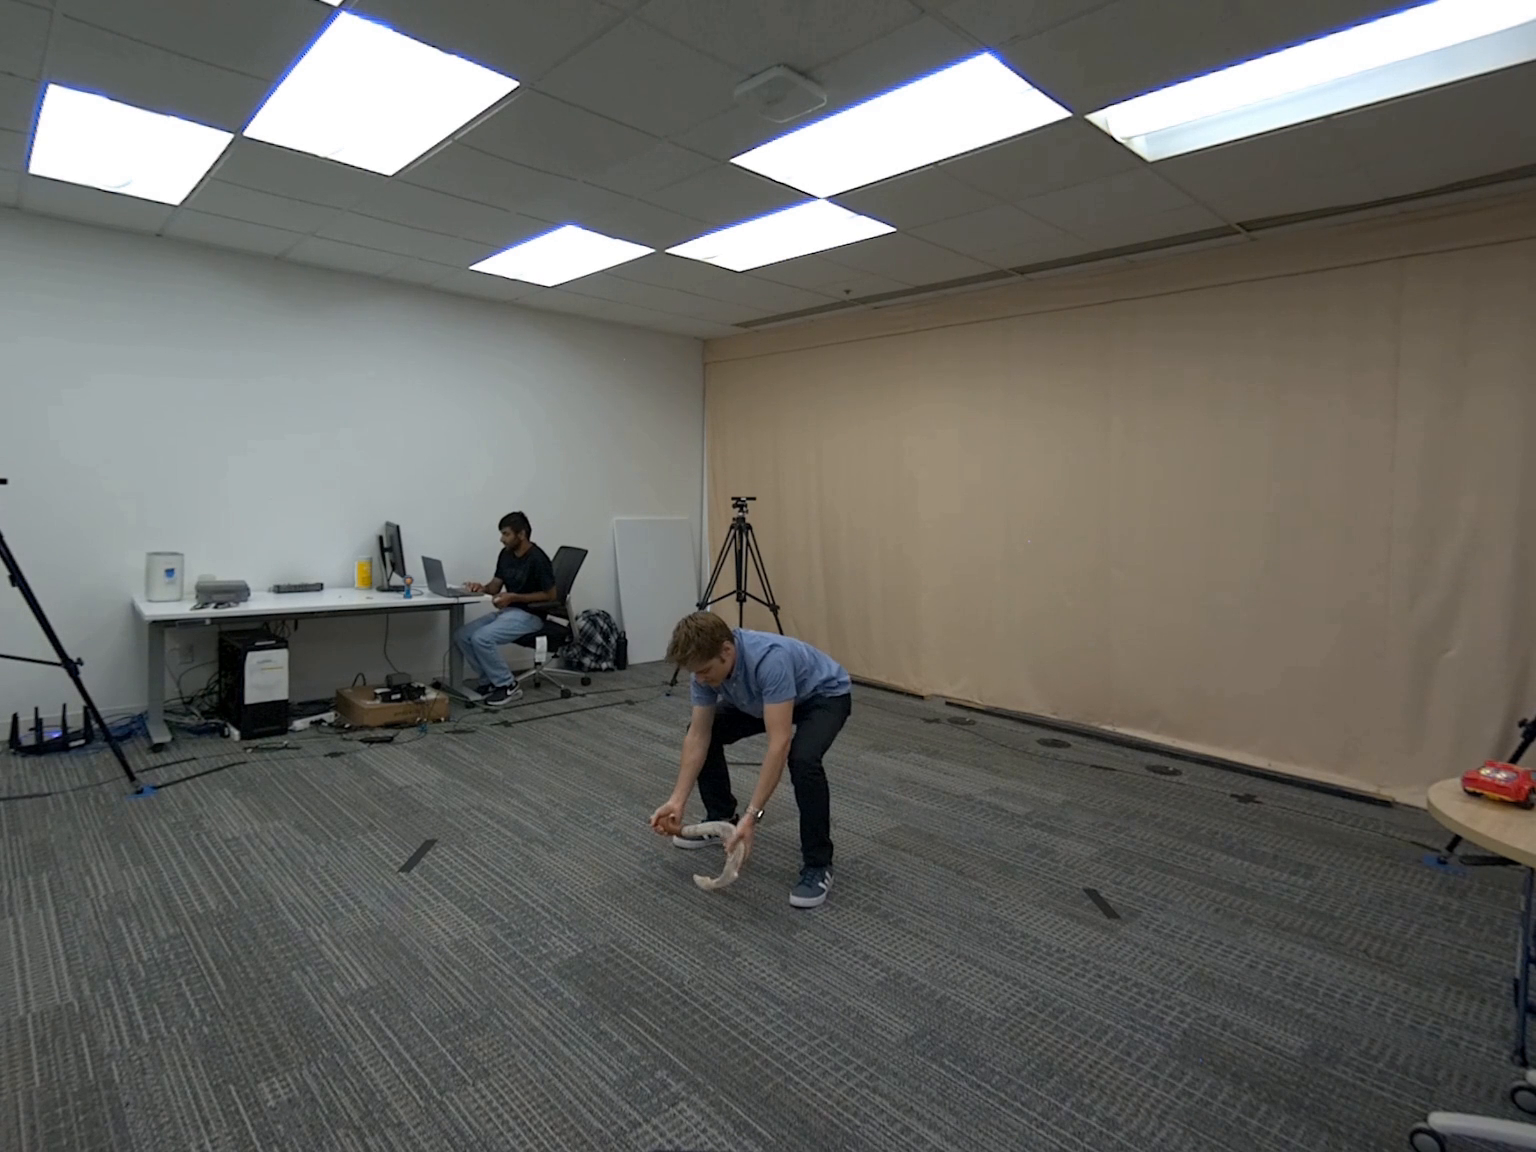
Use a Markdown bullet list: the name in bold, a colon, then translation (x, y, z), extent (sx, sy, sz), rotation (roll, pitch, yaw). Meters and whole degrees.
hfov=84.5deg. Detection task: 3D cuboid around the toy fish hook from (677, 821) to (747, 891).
- **toy fish hook**: translation (-0.283, 0.960, 2.949), extent (0.518, 0.226, 0.047), rotation (-4, -32, 45)
